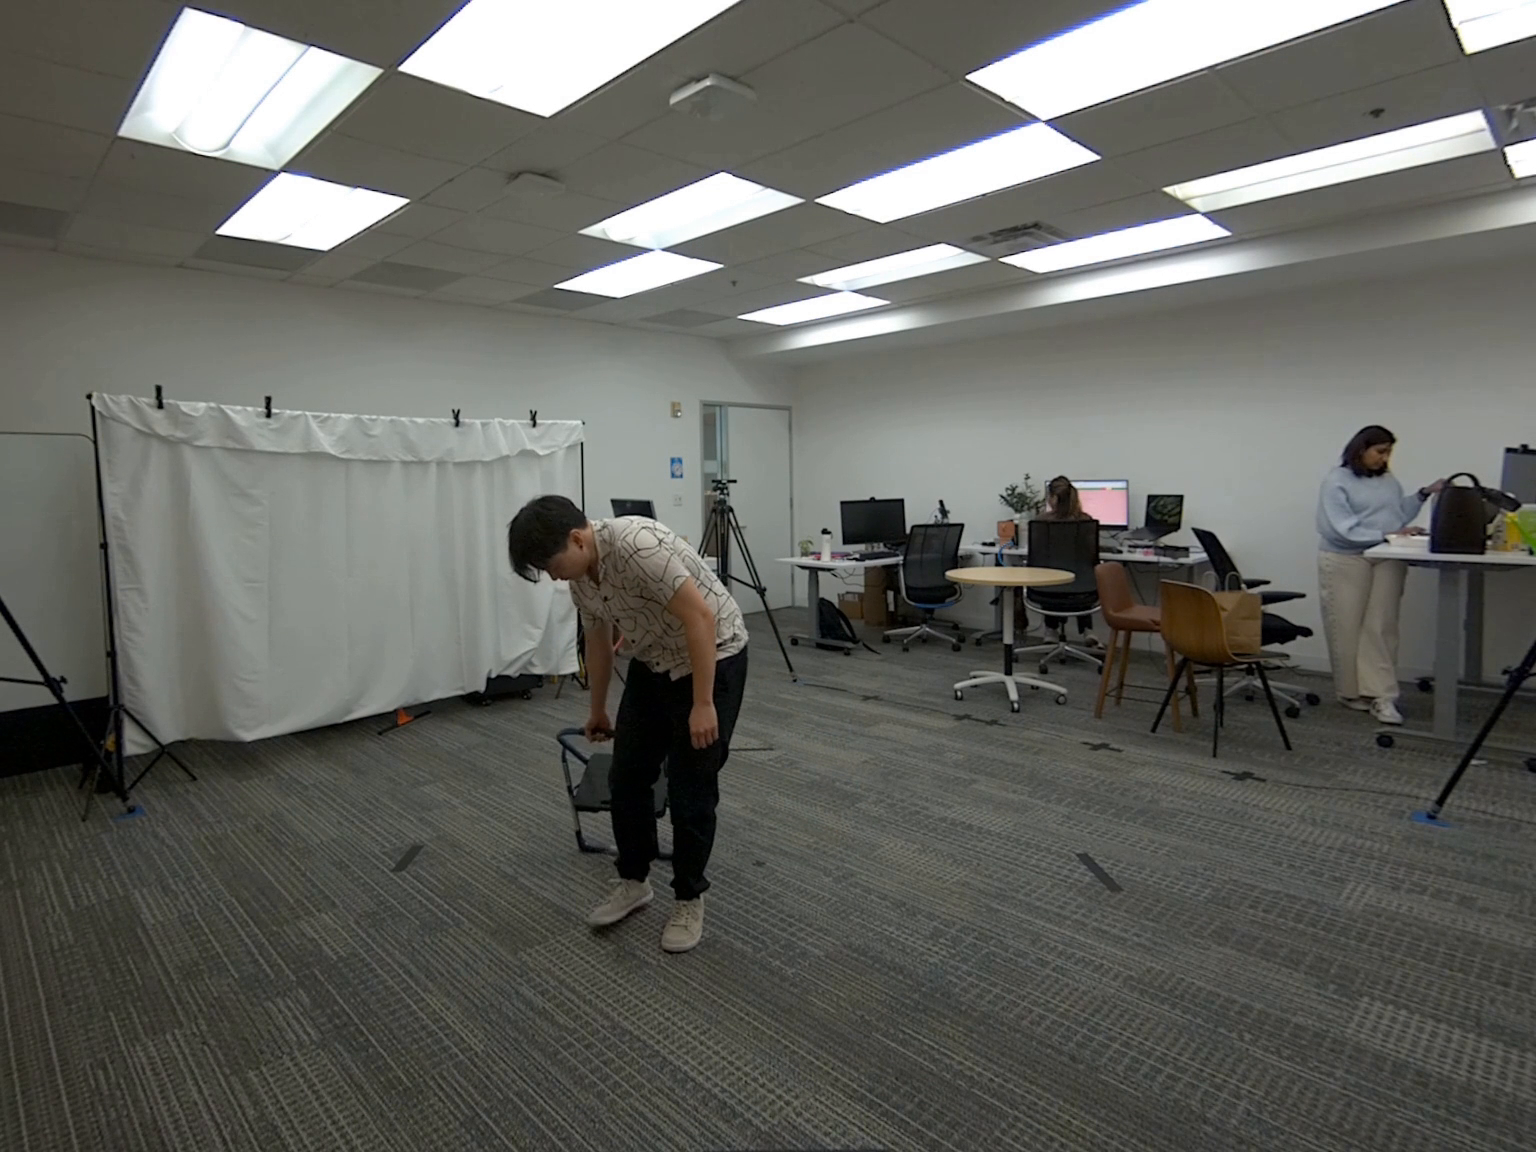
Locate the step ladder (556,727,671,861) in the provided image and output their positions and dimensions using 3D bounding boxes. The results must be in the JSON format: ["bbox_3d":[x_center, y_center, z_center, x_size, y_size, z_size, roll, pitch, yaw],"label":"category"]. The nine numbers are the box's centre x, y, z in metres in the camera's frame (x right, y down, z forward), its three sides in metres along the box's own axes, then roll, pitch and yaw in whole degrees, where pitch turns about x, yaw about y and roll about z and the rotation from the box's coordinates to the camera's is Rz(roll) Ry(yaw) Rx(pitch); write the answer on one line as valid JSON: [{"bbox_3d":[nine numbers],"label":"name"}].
[{"bbox_3d":[-0.537,0.718,3.154,0.437,0.587,0.355,0,39,14],"label":"step ladder"}]
